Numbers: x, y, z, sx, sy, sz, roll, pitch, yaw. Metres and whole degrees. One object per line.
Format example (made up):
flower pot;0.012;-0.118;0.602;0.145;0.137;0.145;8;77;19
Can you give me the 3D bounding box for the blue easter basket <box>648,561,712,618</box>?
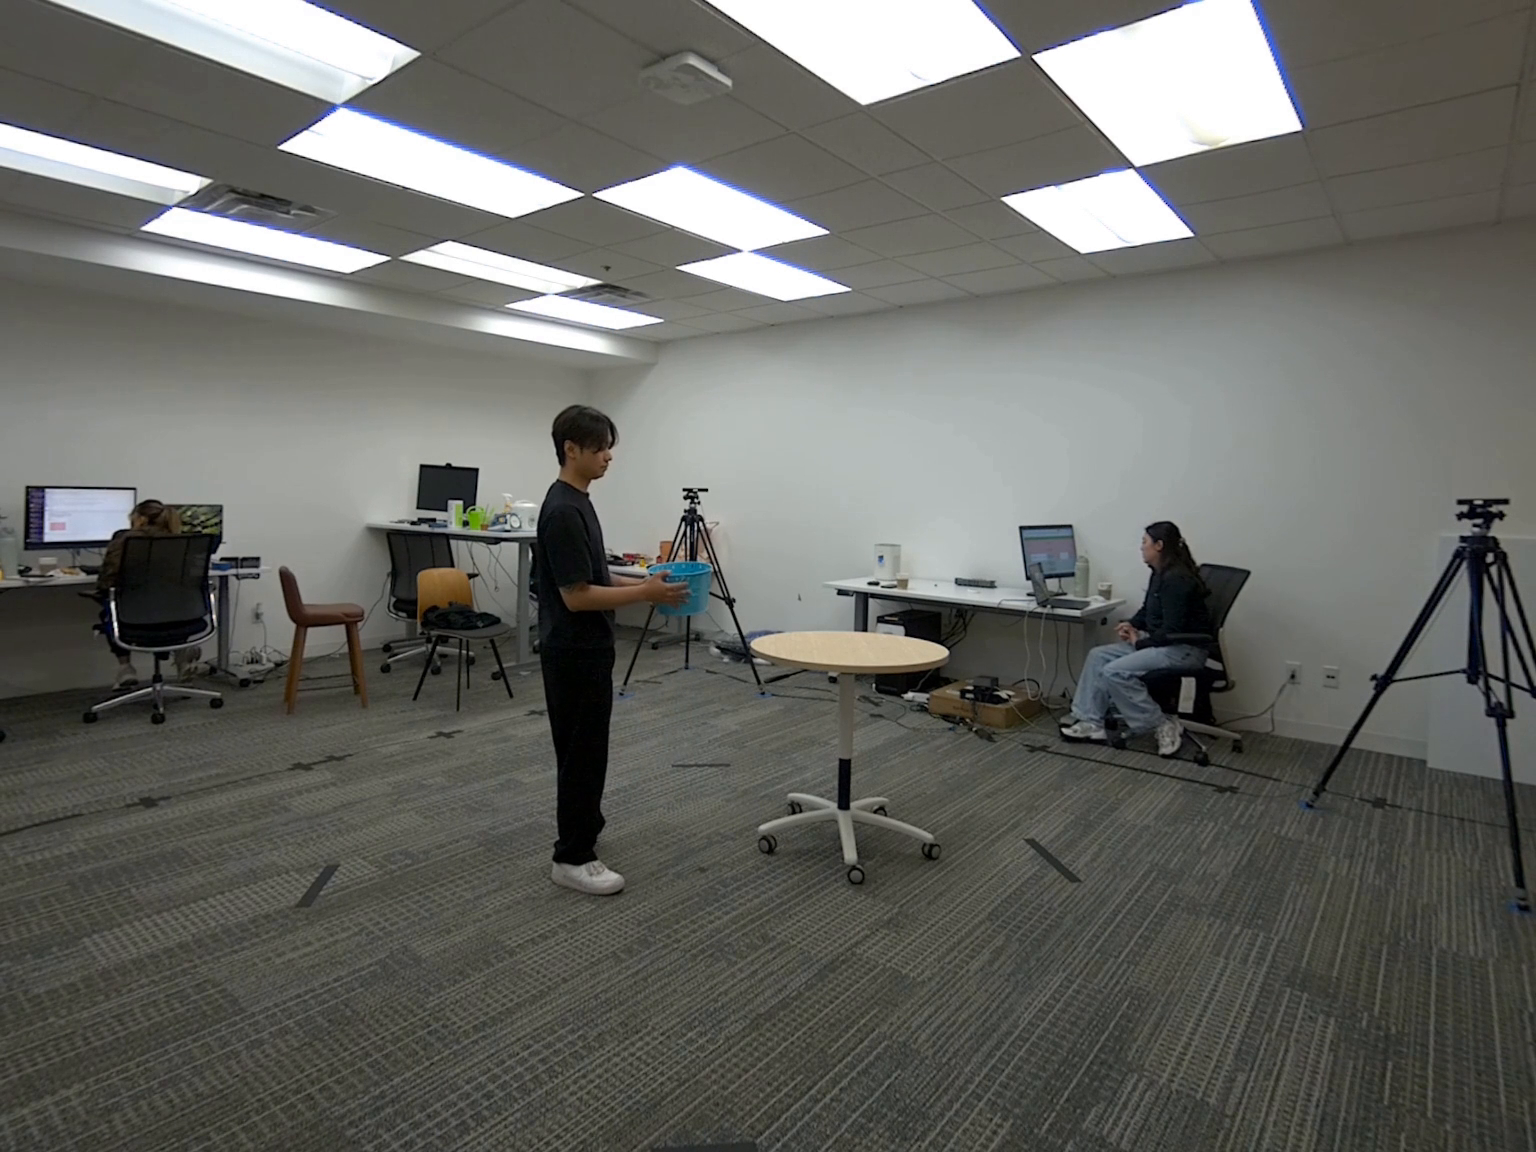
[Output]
blue easter basket;-0.337;0.050;3.034;0.243;0.154;0.246;-2;12;-1
